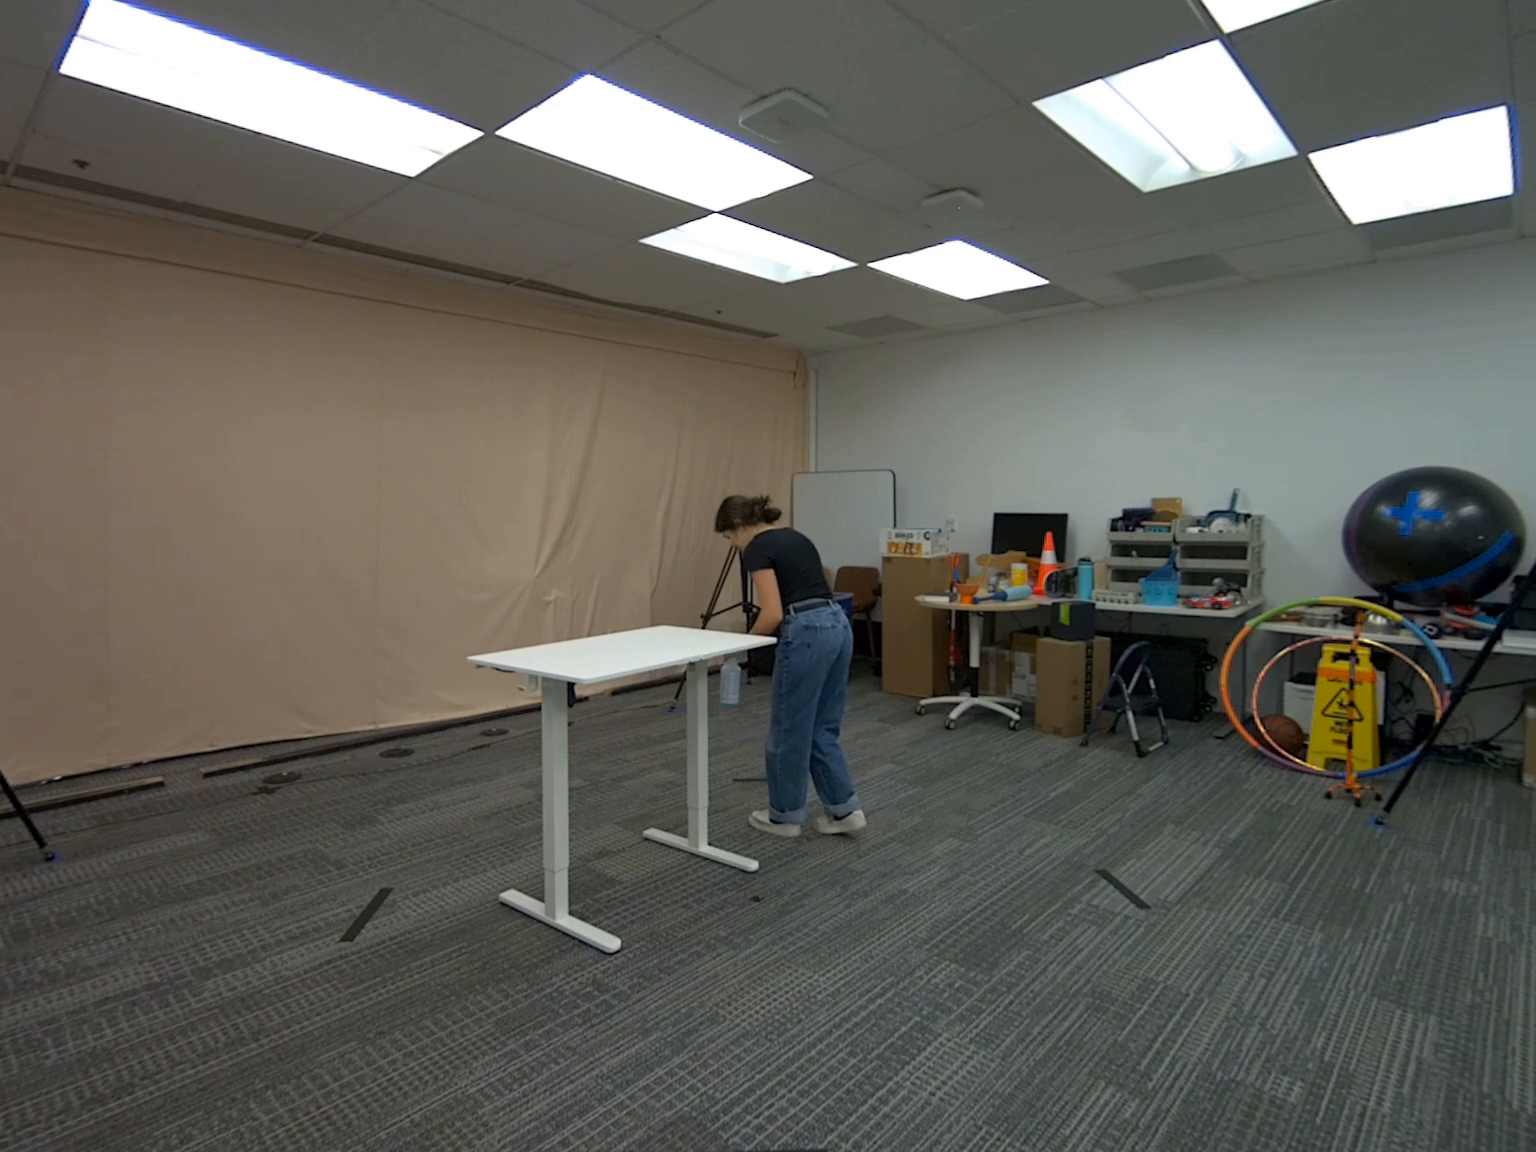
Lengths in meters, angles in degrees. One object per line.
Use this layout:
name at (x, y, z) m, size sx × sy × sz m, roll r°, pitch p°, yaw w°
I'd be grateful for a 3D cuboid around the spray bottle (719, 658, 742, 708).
spray bottle at (-0.153, 0.416, 3.604) m, size 0.092 × 0.298 × 0.085 m, roll -2°, pitch -5°, yaw 23°
